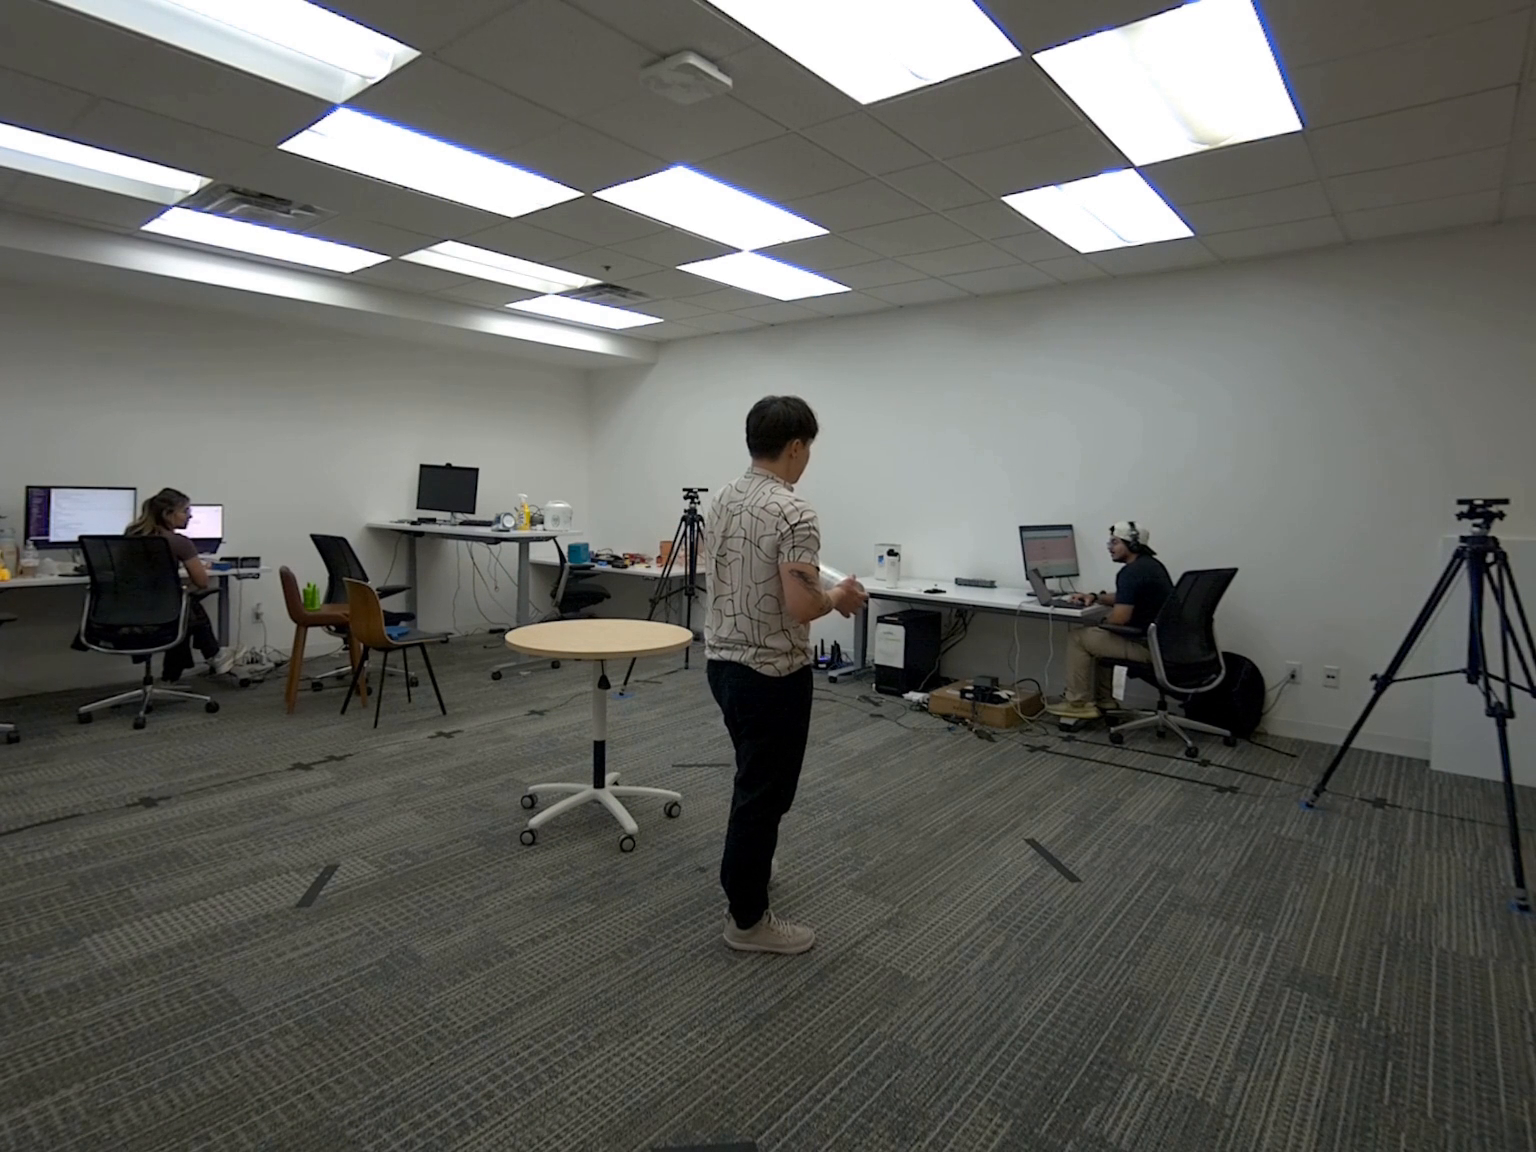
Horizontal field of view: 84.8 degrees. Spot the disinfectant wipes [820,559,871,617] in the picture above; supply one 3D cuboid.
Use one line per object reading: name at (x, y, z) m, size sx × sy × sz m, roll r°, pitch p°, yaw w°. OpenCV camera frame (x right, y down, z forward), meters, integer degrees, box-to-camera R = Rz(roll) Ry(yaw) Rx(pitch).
disinfectant wipes at (0.198, 0.033, 2.660) m, size 0.114 × 0.116 × 0.226 m, roll -2°, pitch 16°, yaw -31°
